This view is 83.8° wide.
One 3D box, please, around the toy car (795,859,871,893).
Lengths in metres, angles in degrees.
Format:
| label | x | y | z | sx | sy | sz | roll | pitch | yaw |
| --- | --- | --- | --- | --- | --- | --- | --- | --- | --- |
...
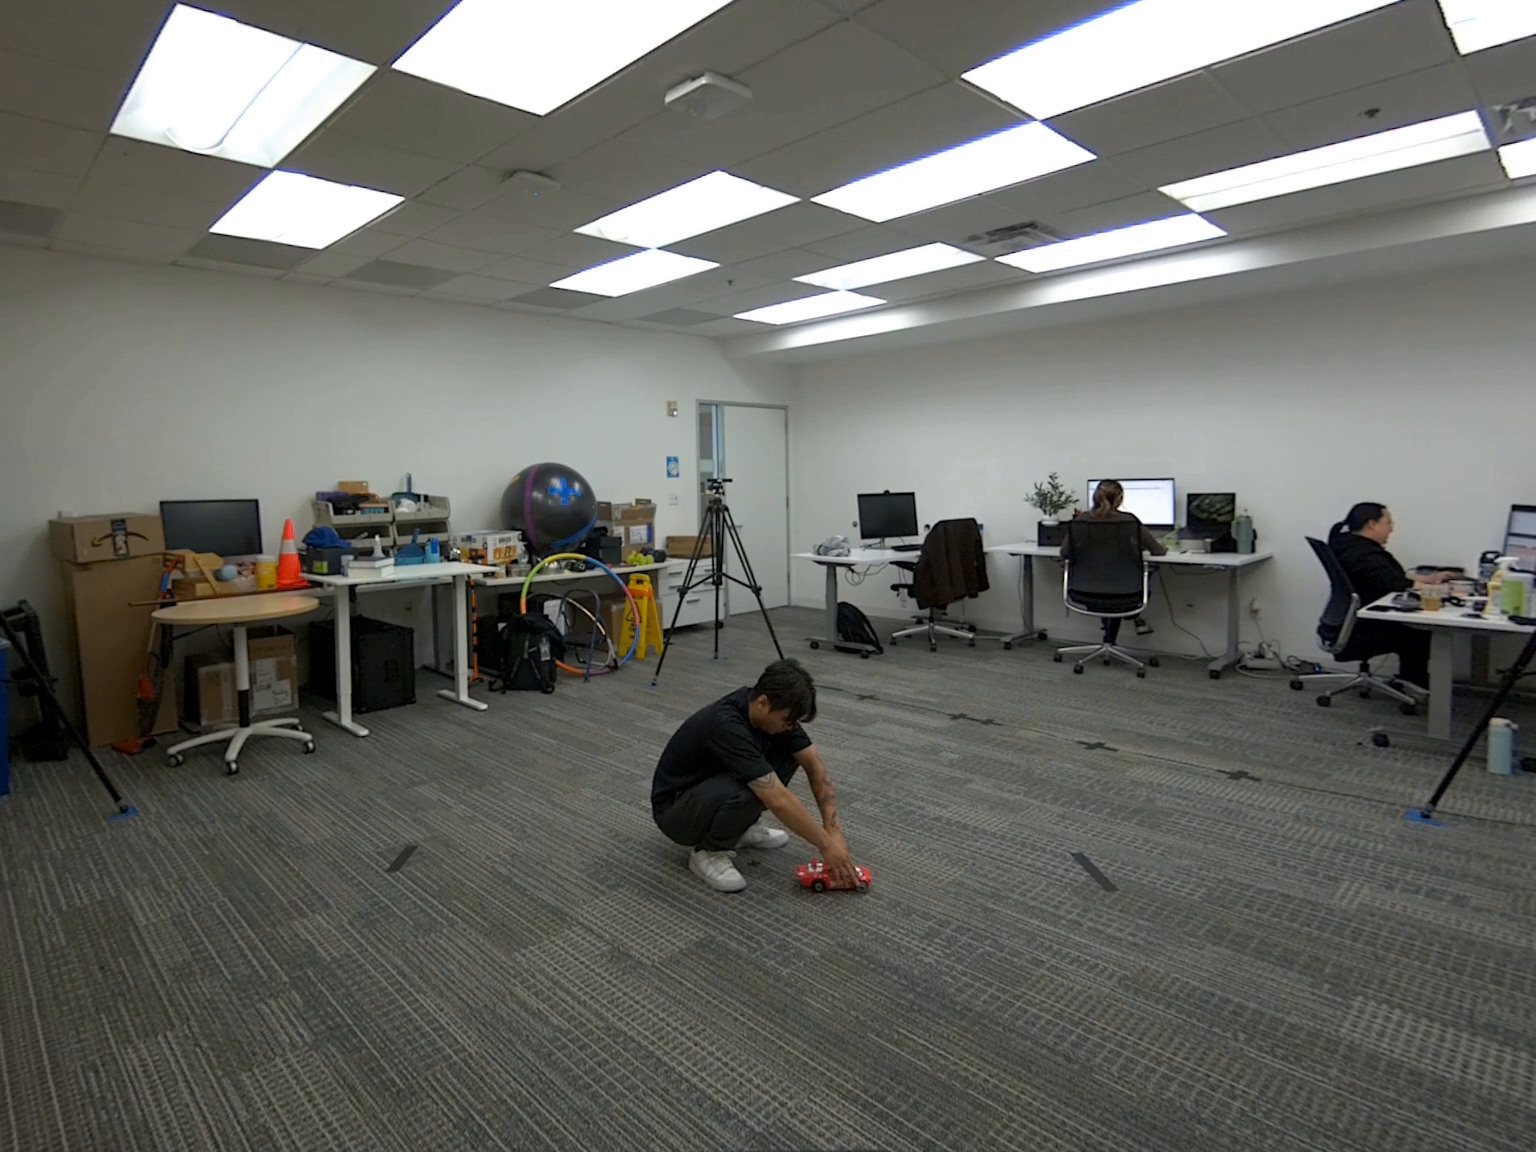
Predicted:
| label | x | y | z | sx | sy | sz | roll | pitch | yaw |
| --- | --- | --- | --- | --- | --- | --- | --- | --- | --- |
| toy car | 0.215 | 1.025 | 2.919 | 0.254 | 0.083 | 0.131 | 13 | 4 | -1 |
